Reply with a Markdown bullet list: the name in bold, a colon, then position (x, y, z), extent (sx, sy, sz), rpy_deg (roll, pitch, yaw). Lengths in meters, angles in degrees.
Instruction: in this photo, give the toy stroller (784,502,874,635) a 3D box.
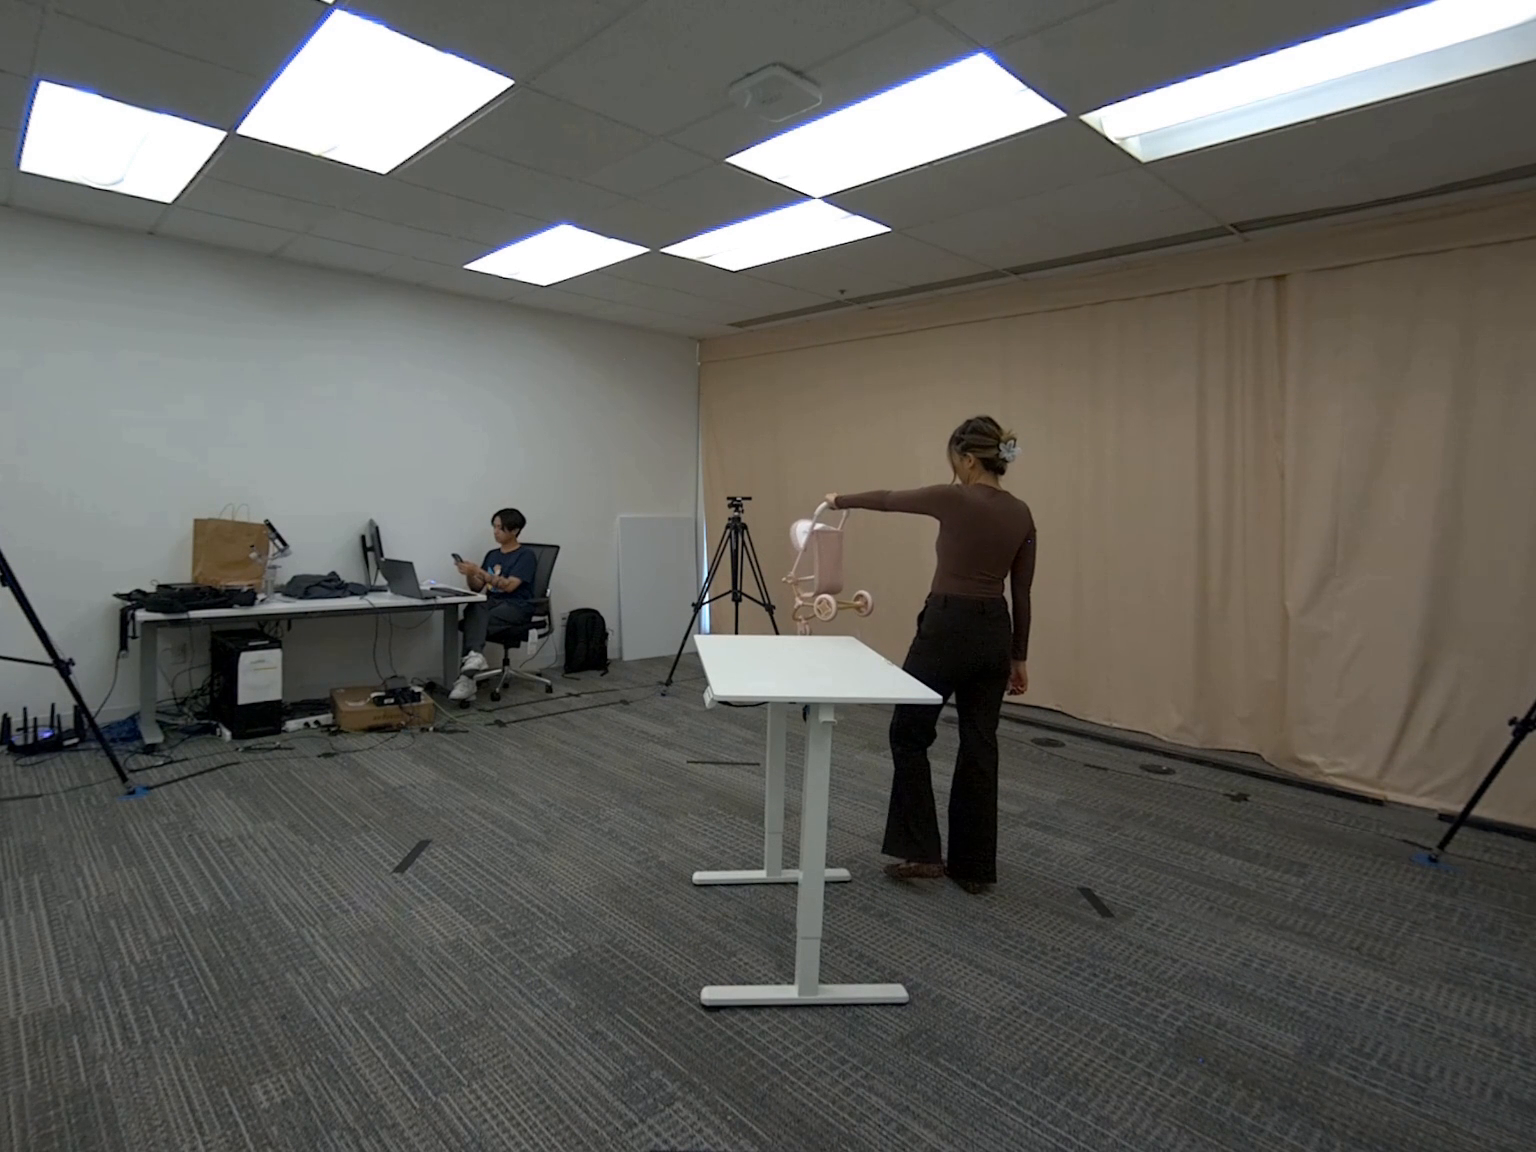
- **toy stroller**: position (0.211, -0.015, 3.549), extent (0.275, 0.538, 0.347), rpy_deg (-4, -8, -41)
